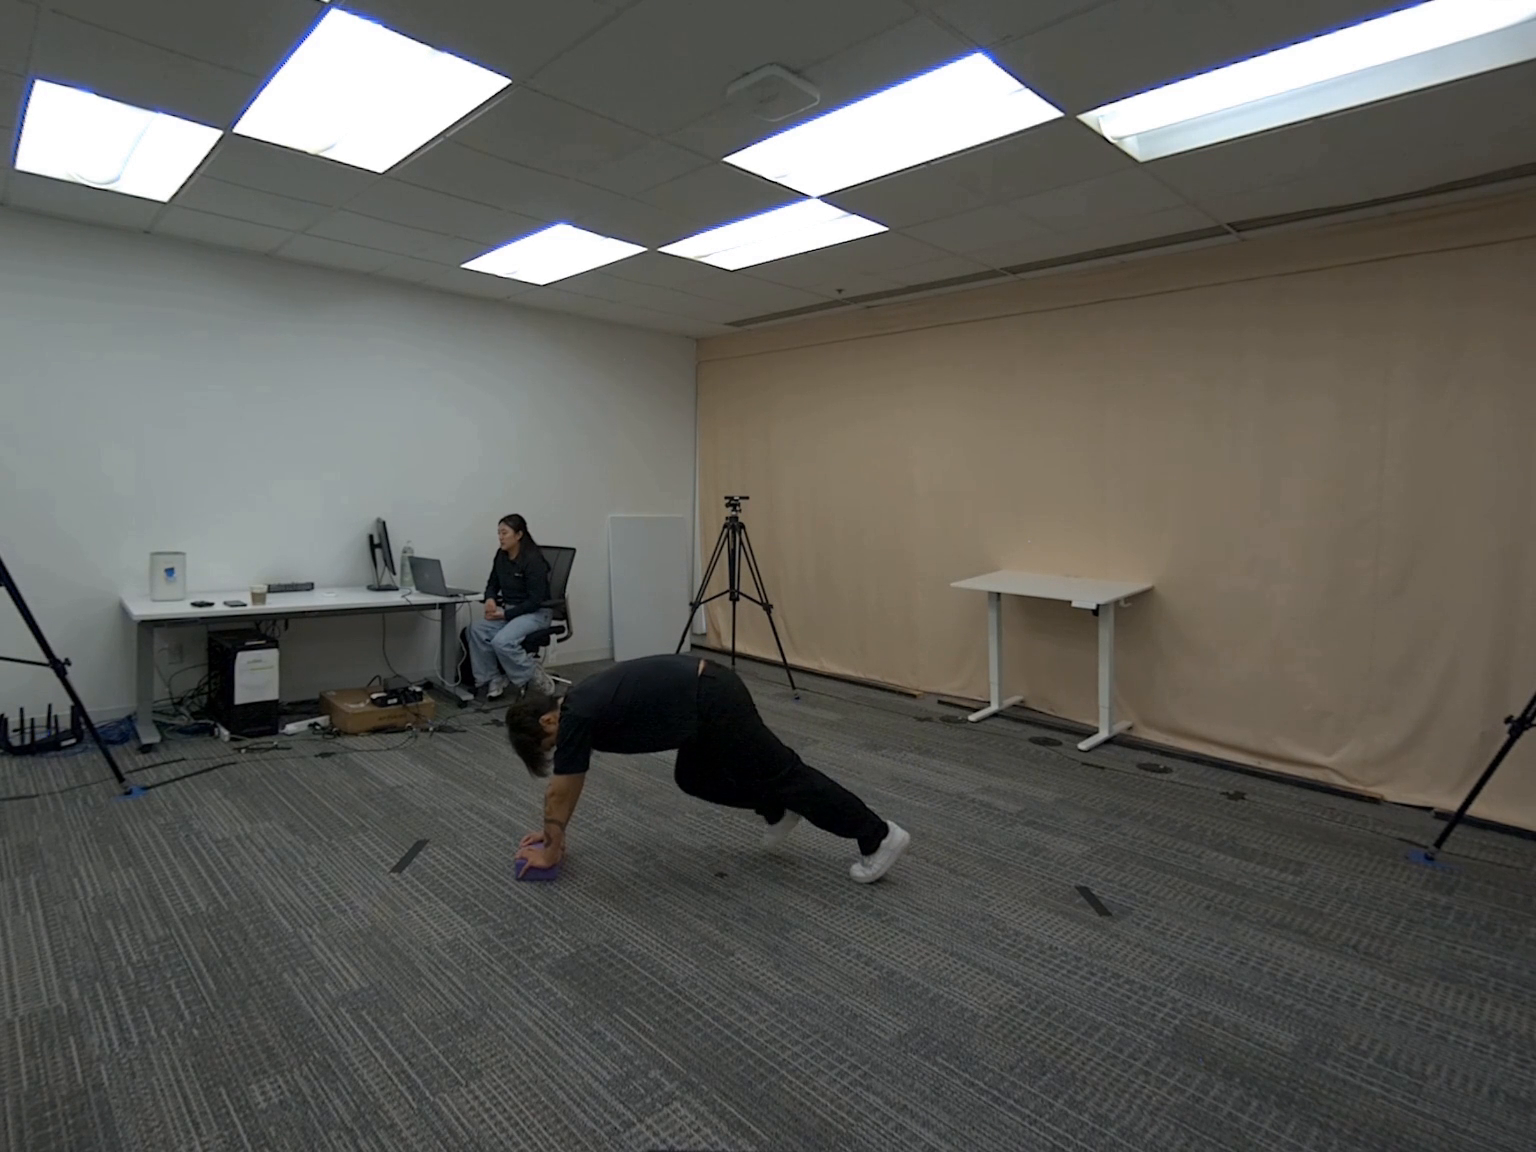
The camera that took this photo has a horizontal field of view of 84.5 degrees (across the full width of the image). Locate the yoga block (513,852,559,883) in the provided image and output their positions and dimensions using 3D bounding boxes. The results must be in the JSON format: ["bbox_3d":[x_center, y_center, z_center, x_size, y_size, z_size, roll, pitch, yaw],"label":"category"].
[{"bbox_3d":[-0.843,1.039,3.136,0.148,0.076,0.231,-2,7,-5],"label":"yoga block"}]
